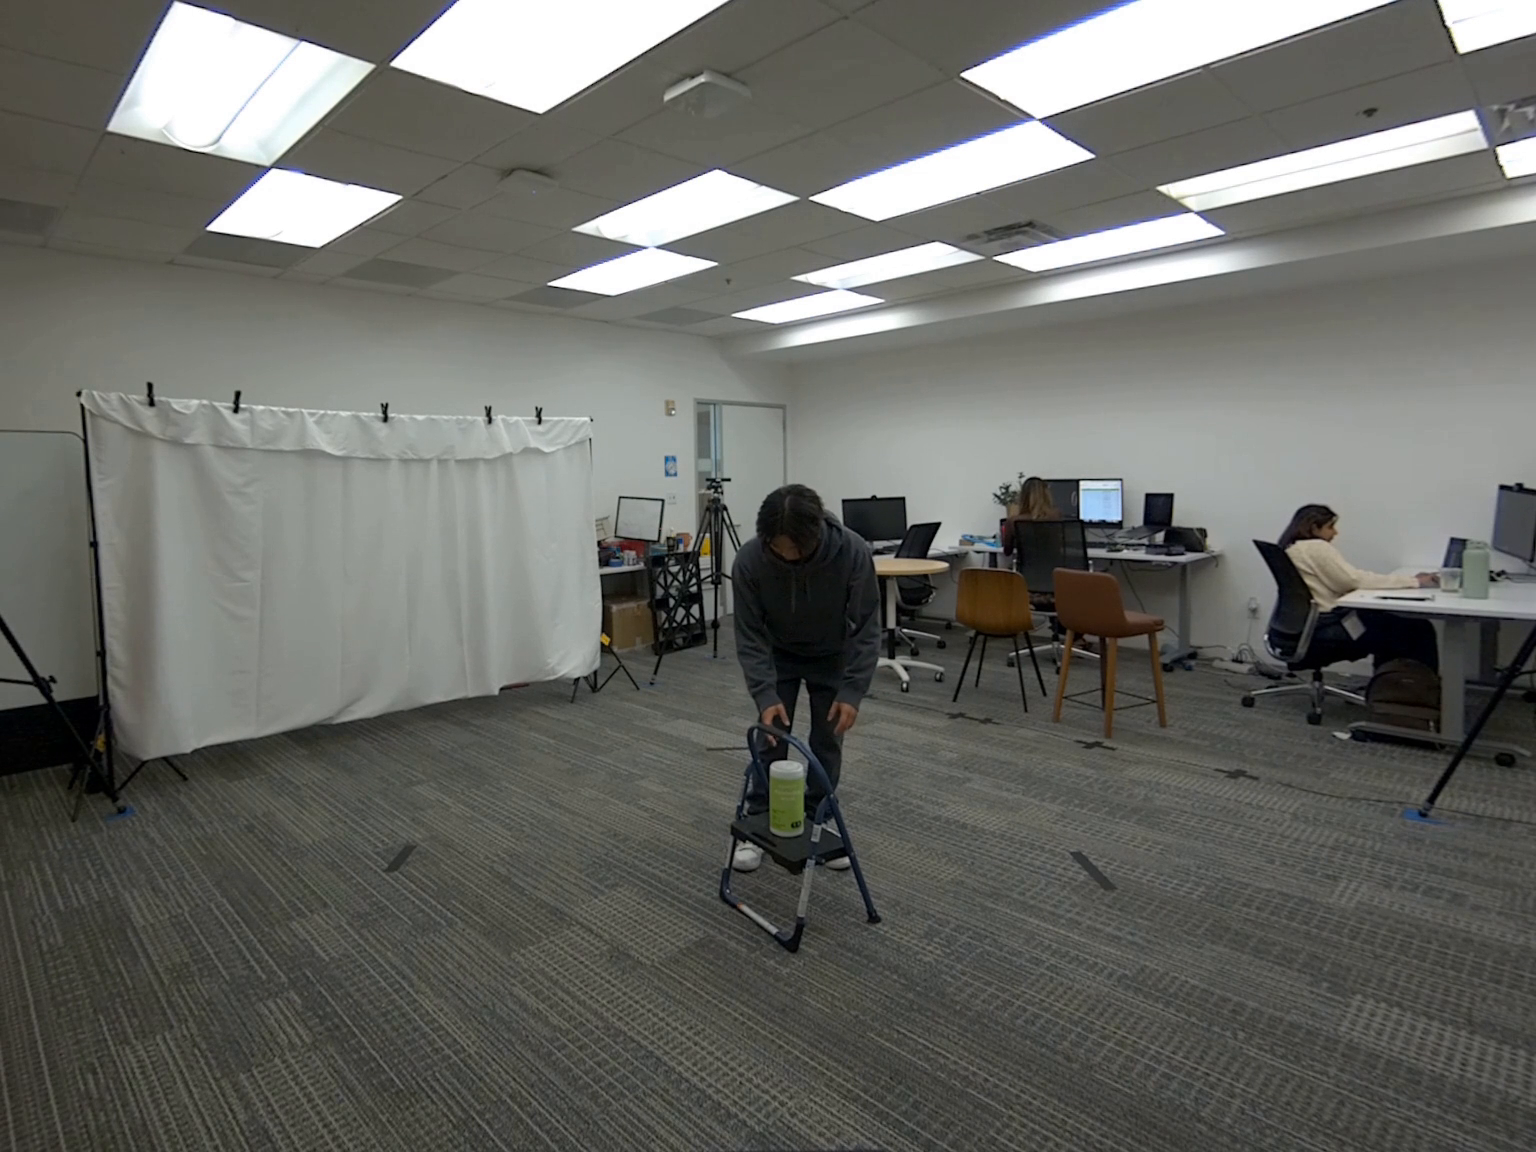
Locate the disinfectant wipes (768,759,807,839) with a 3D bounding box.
[{"bbox_3d":[0.063,0.718,2.738,0.118,0.216,0.118,-2,5,-2],"label":"disinfectant wipes"}]
